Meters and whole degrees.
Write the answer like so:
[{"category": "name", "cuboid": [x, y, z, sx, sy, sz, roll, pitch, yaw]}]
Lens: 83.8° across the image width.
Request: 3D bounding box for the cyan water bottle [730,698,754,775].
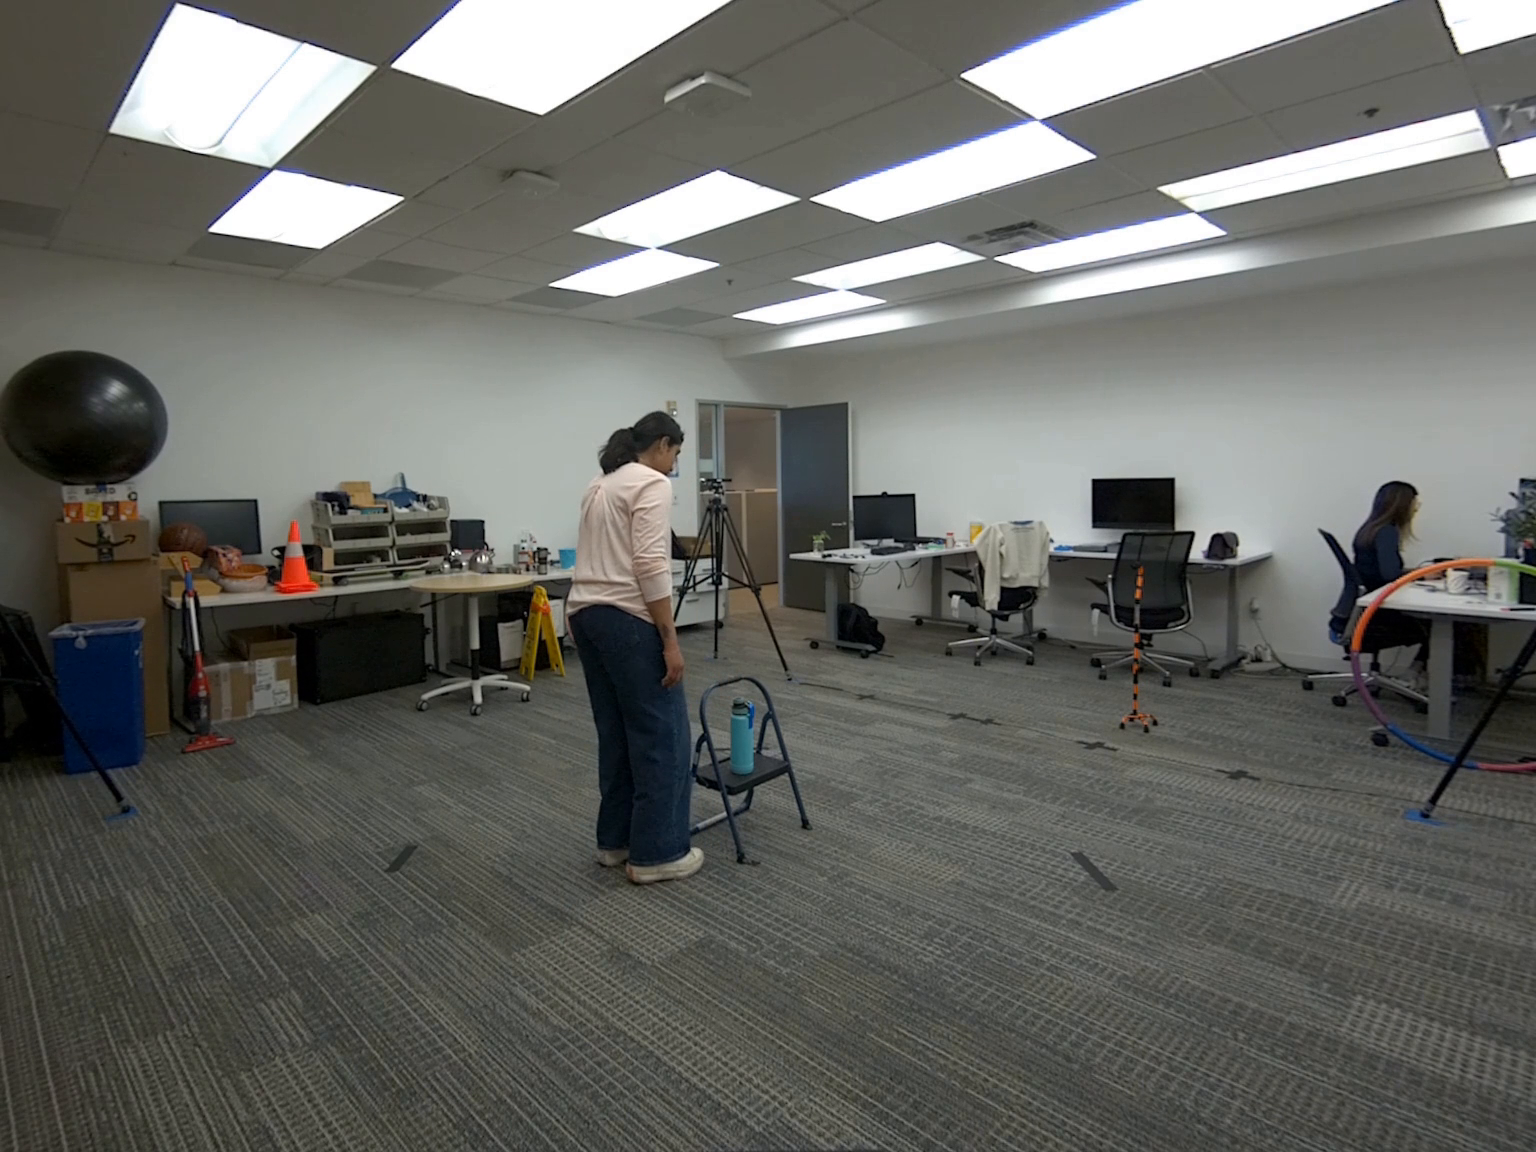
[{"category": "cyan water bottle", "cuboid": [-0.098, 0.623, 3.320, 0.092, 0.282, 0.093, 2, 6, -2]}]
